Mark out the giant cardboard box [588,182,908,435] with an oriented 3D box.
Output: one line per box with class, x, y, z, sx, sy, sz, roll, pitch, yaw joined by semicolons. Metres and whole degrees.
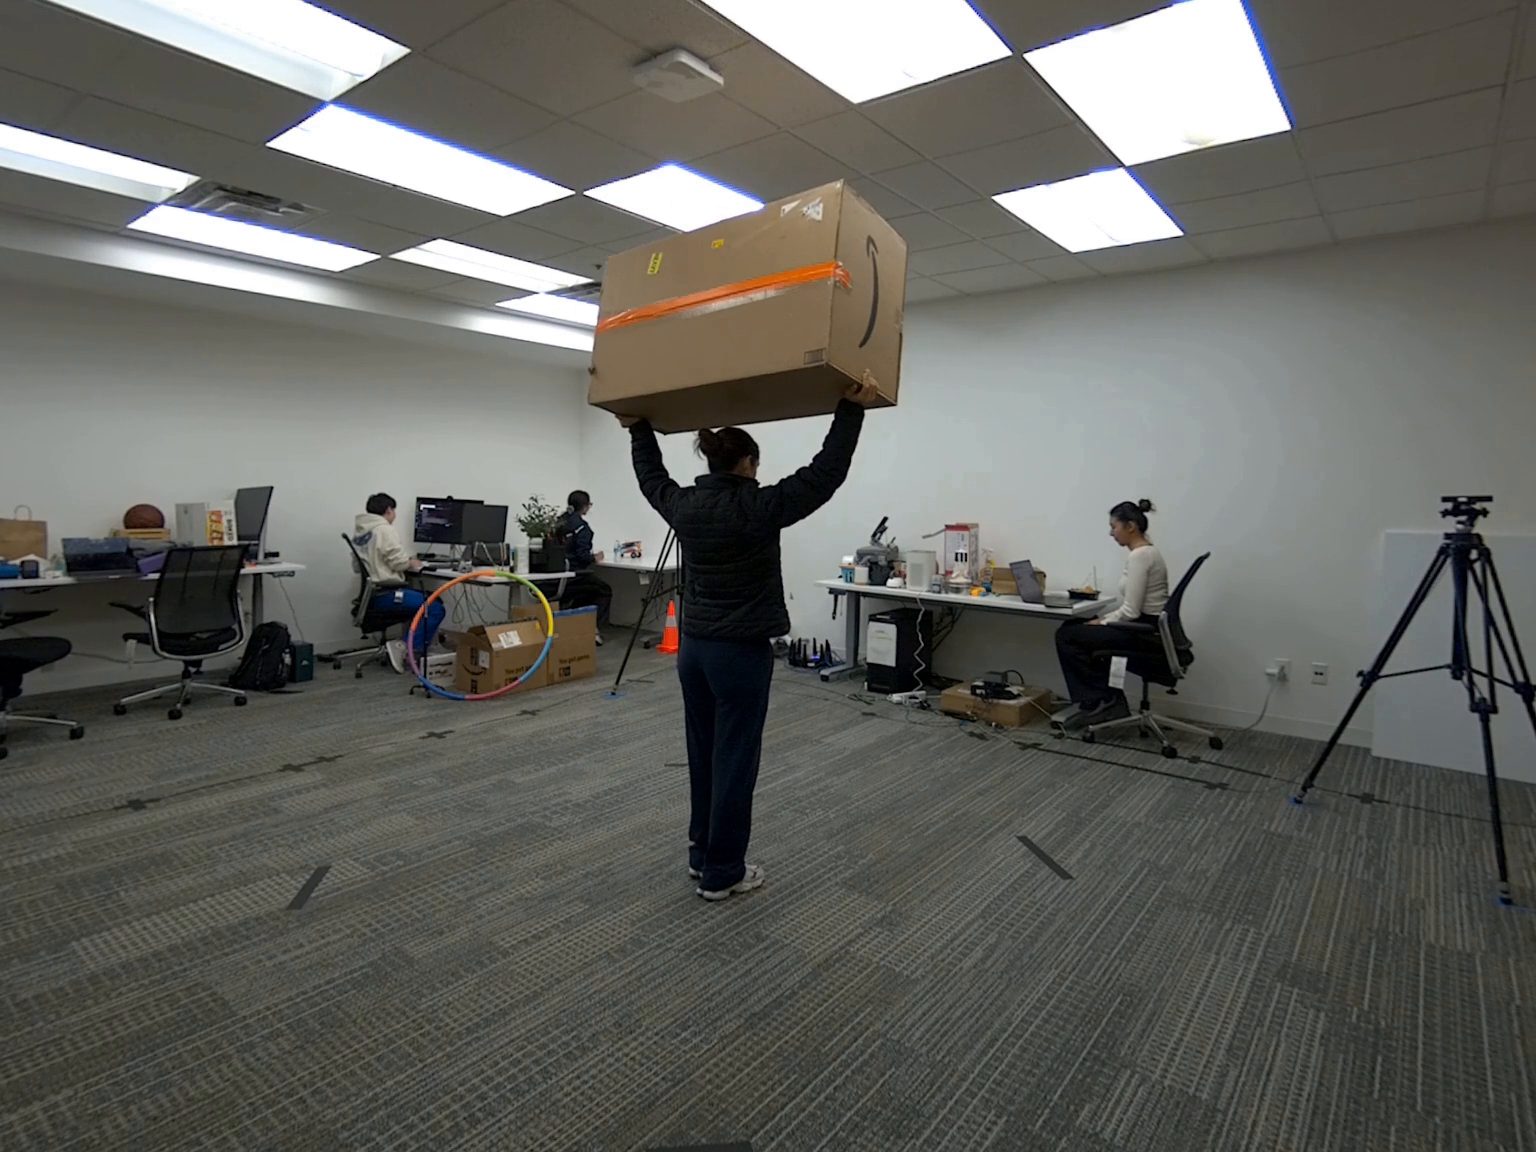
giant cardboard box;-0.083;-0.863;2.956;1.059;0.588;0.430;0;-9;38
